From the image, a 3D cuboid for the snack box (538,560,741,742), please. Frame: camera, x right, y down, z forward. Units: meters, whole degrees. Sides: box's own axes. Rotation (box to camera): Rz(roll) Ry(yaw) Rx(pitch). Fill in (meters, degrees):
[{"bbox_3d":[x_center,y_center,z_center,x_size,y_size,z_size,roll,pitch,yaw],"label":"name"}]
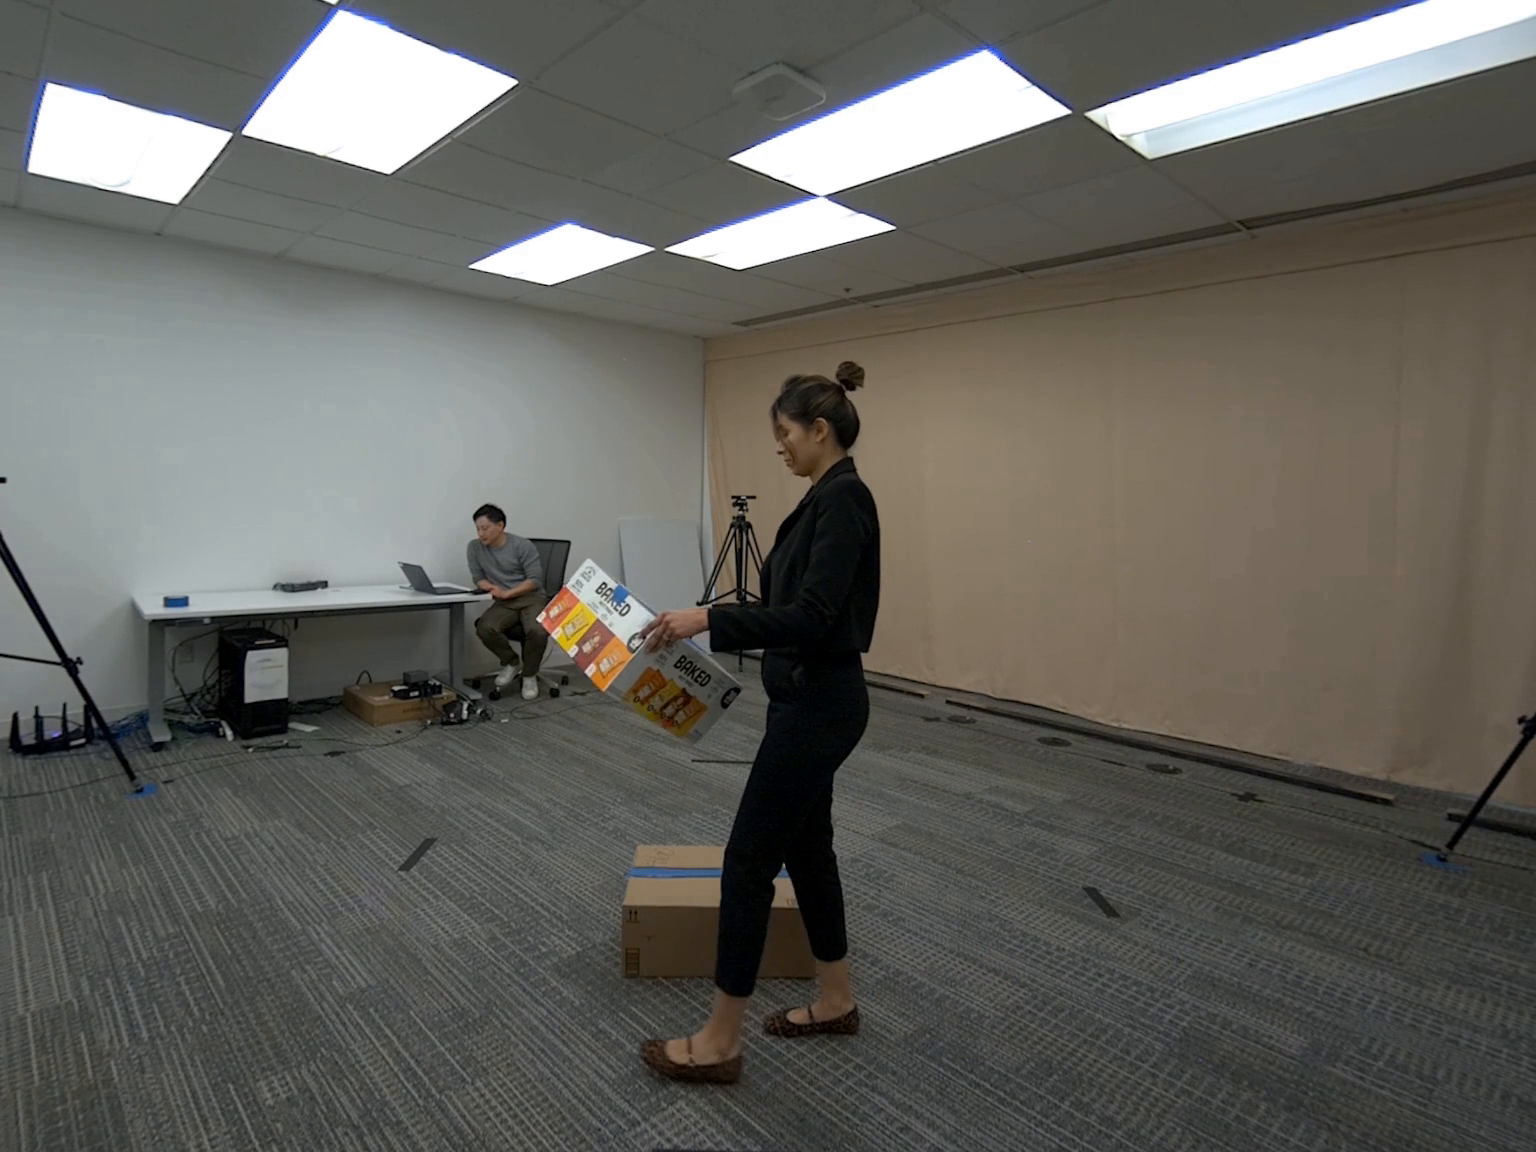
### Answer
[{"bbox_3d":[-0.331,0.194,2.137,0.351,0.206,0.392,36,-7,41],"label":"snack box"}]
